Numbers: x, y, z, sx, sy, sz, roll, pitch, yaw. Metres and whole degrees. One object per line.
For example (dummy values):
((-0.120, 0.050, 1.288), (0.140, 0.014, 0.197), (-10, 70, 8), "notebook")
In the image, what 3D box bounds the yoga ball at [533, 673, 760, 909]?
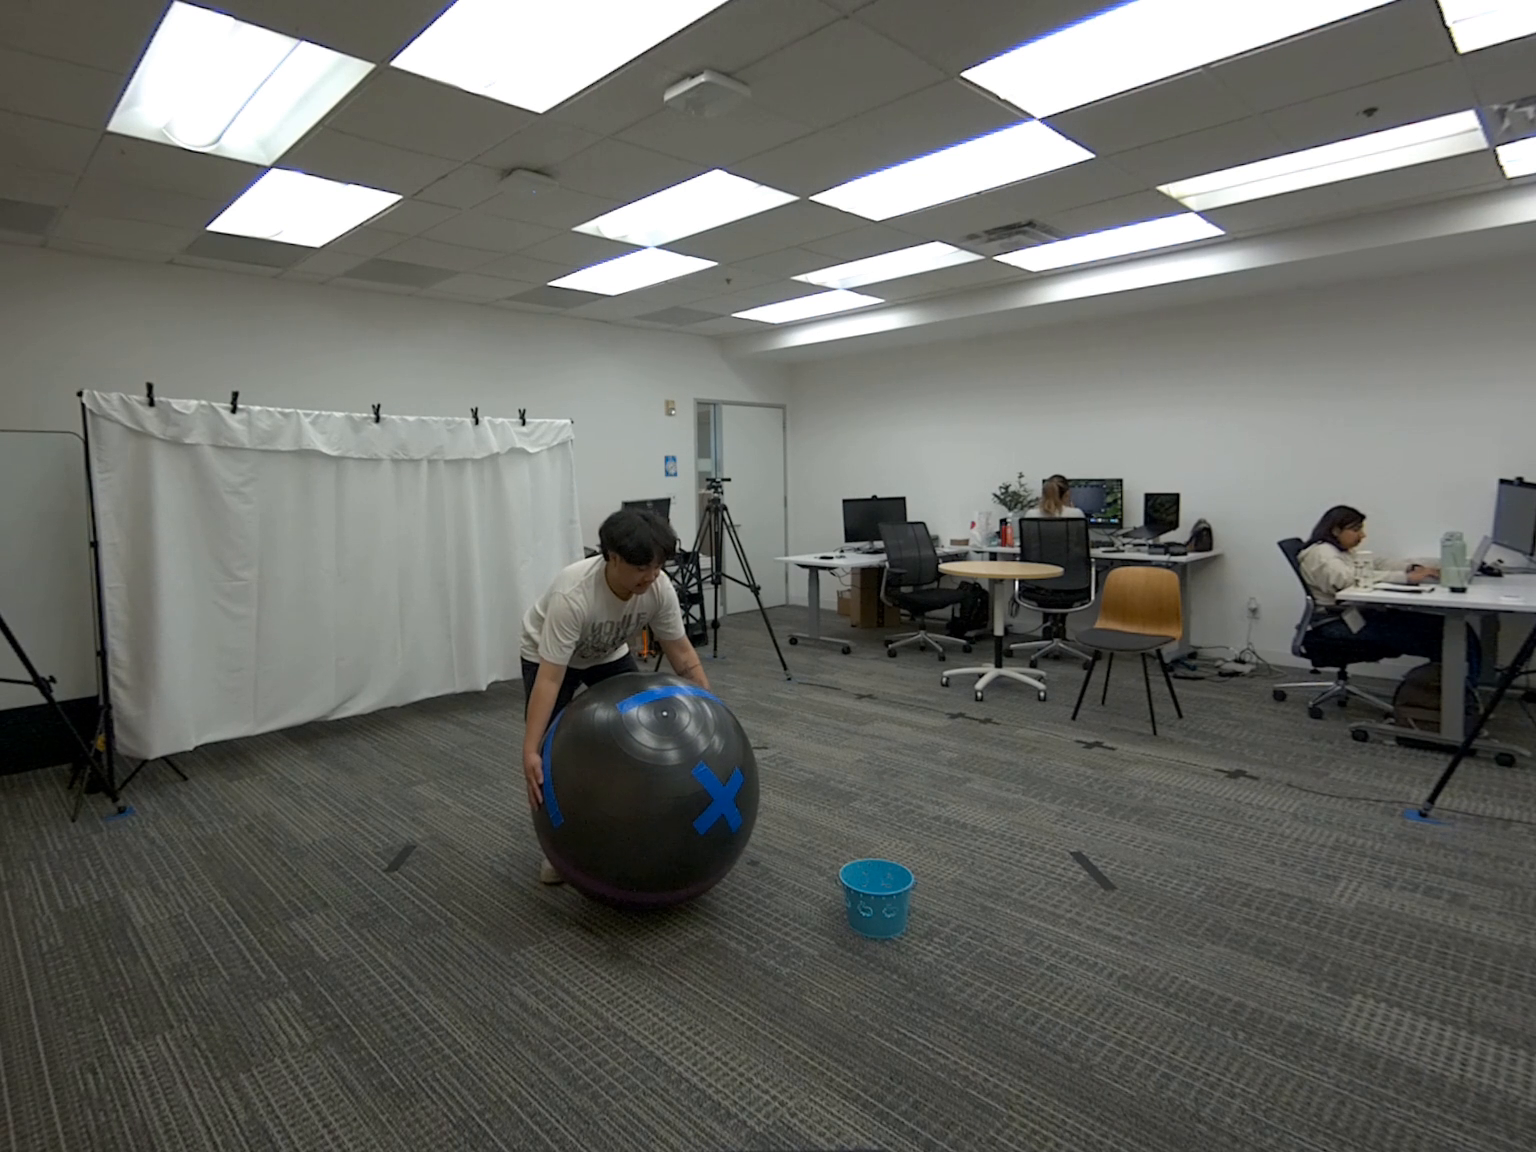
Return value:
((-0.402, 0.703, 2.831), (0.757, 0.755, 0.762), (-1, 5, -2), "yoga ball")
